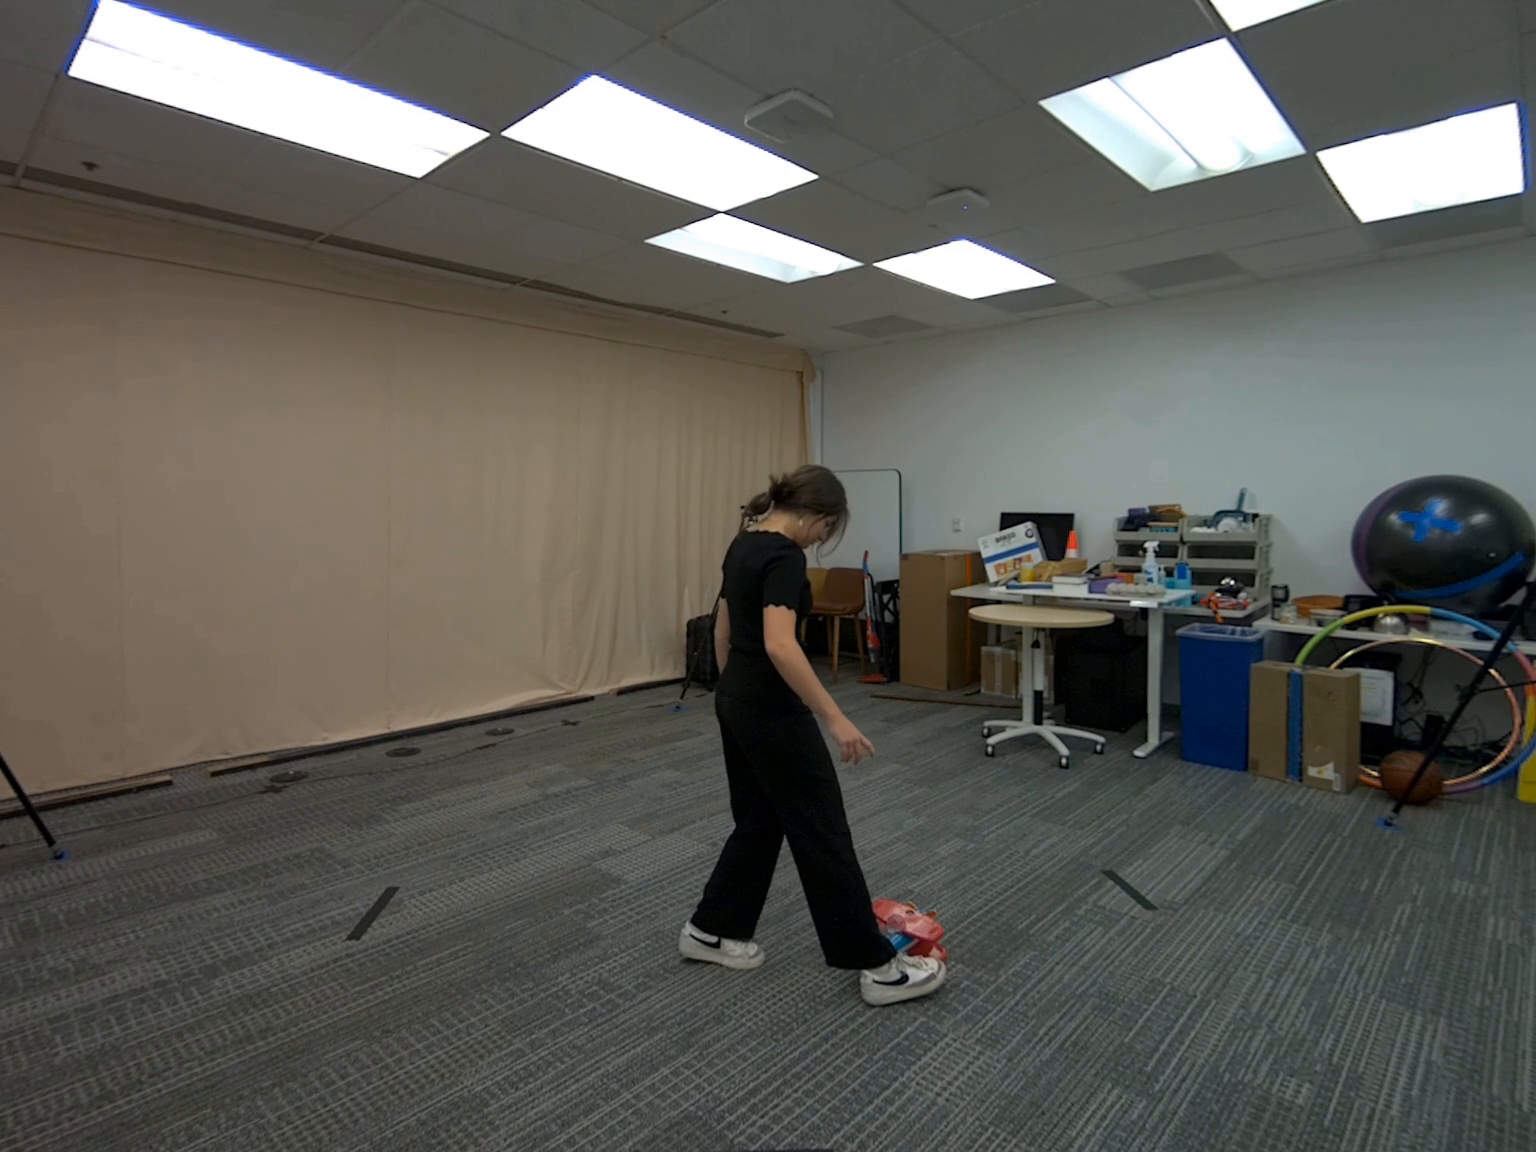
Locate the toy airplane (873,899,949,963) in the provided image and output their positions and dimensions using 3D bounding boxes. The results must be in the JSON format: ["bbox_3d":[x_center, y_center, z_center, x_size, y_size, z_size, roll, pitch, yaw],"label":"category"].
[{"bbox_3d":[0.412,1.110,2.518,0.257,0.156,0.253,1,3,23],"label":"toy airplane"}]
